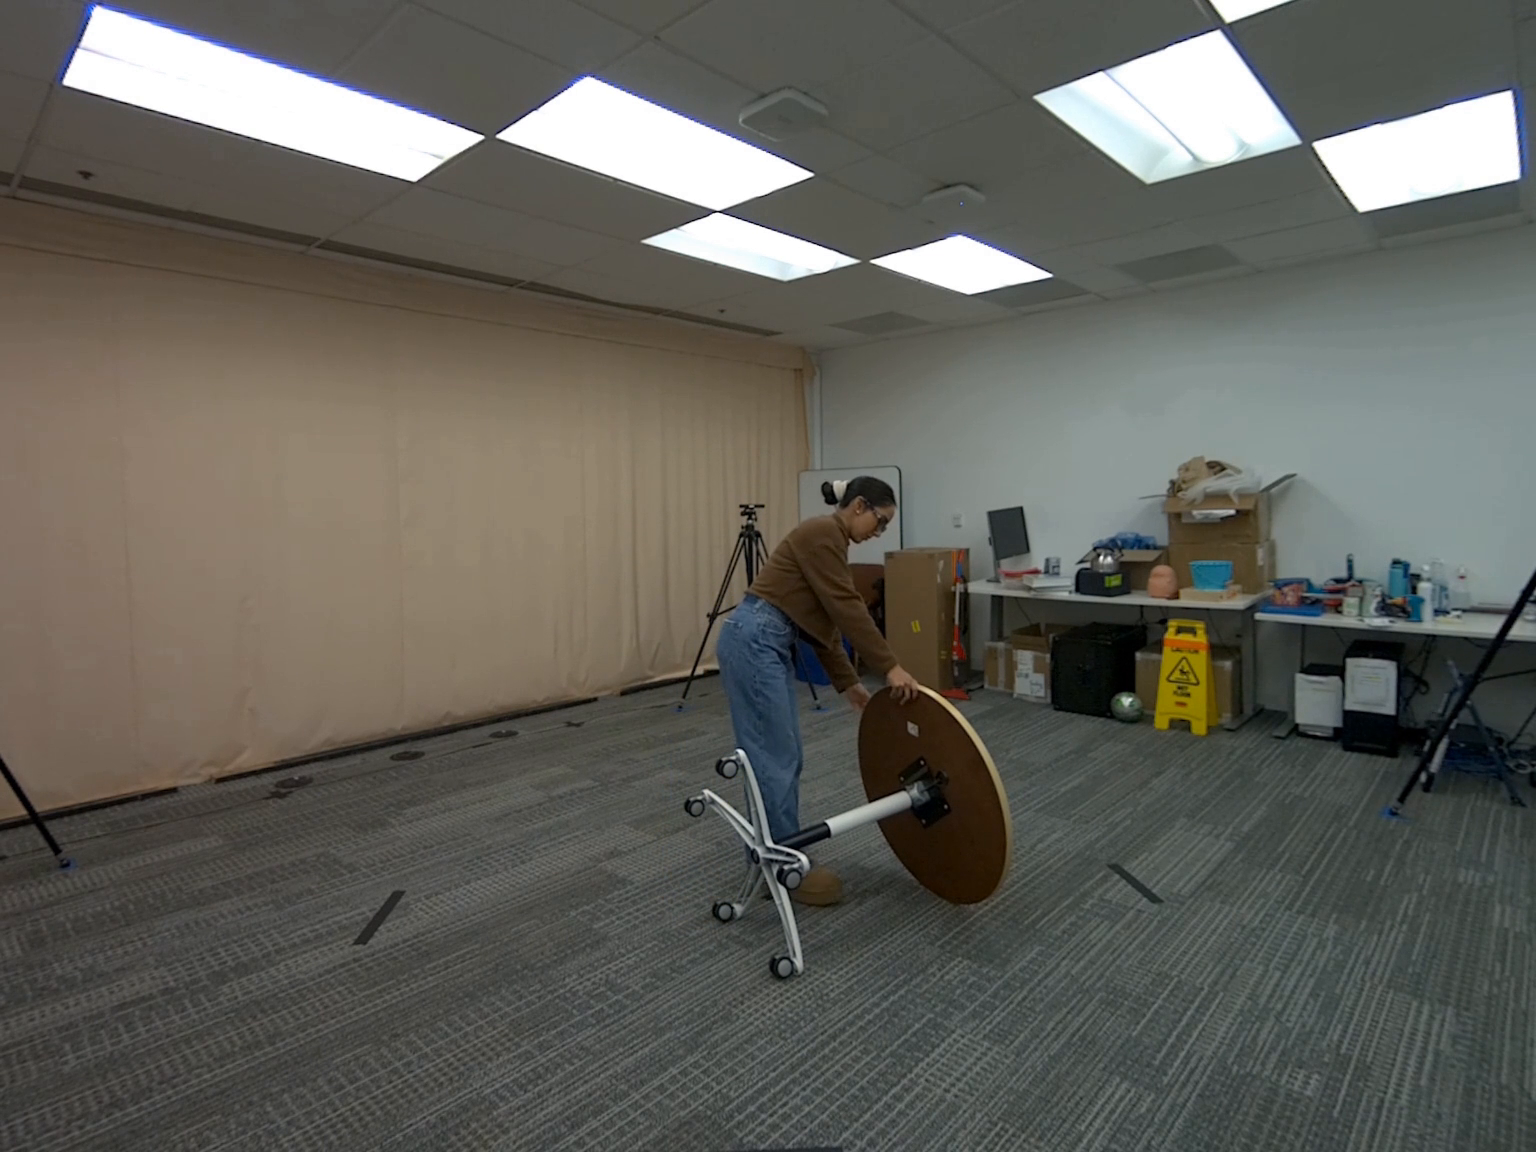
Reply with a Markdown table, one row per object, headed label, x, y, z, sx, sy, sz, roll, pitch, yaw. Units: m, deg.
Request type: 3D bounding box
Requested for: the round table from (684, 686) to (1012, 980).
| label | x | y | z | sx | sy | sz | roll | pitch | yaw |
| --- | --- | --- | --- | --- | --- | --- | --- | --- | --- |
| round table | 0.234 | 0.823 | 2.774 | 0.776 | 0.760 | 0.785 | -11 | 8 | -27 |
